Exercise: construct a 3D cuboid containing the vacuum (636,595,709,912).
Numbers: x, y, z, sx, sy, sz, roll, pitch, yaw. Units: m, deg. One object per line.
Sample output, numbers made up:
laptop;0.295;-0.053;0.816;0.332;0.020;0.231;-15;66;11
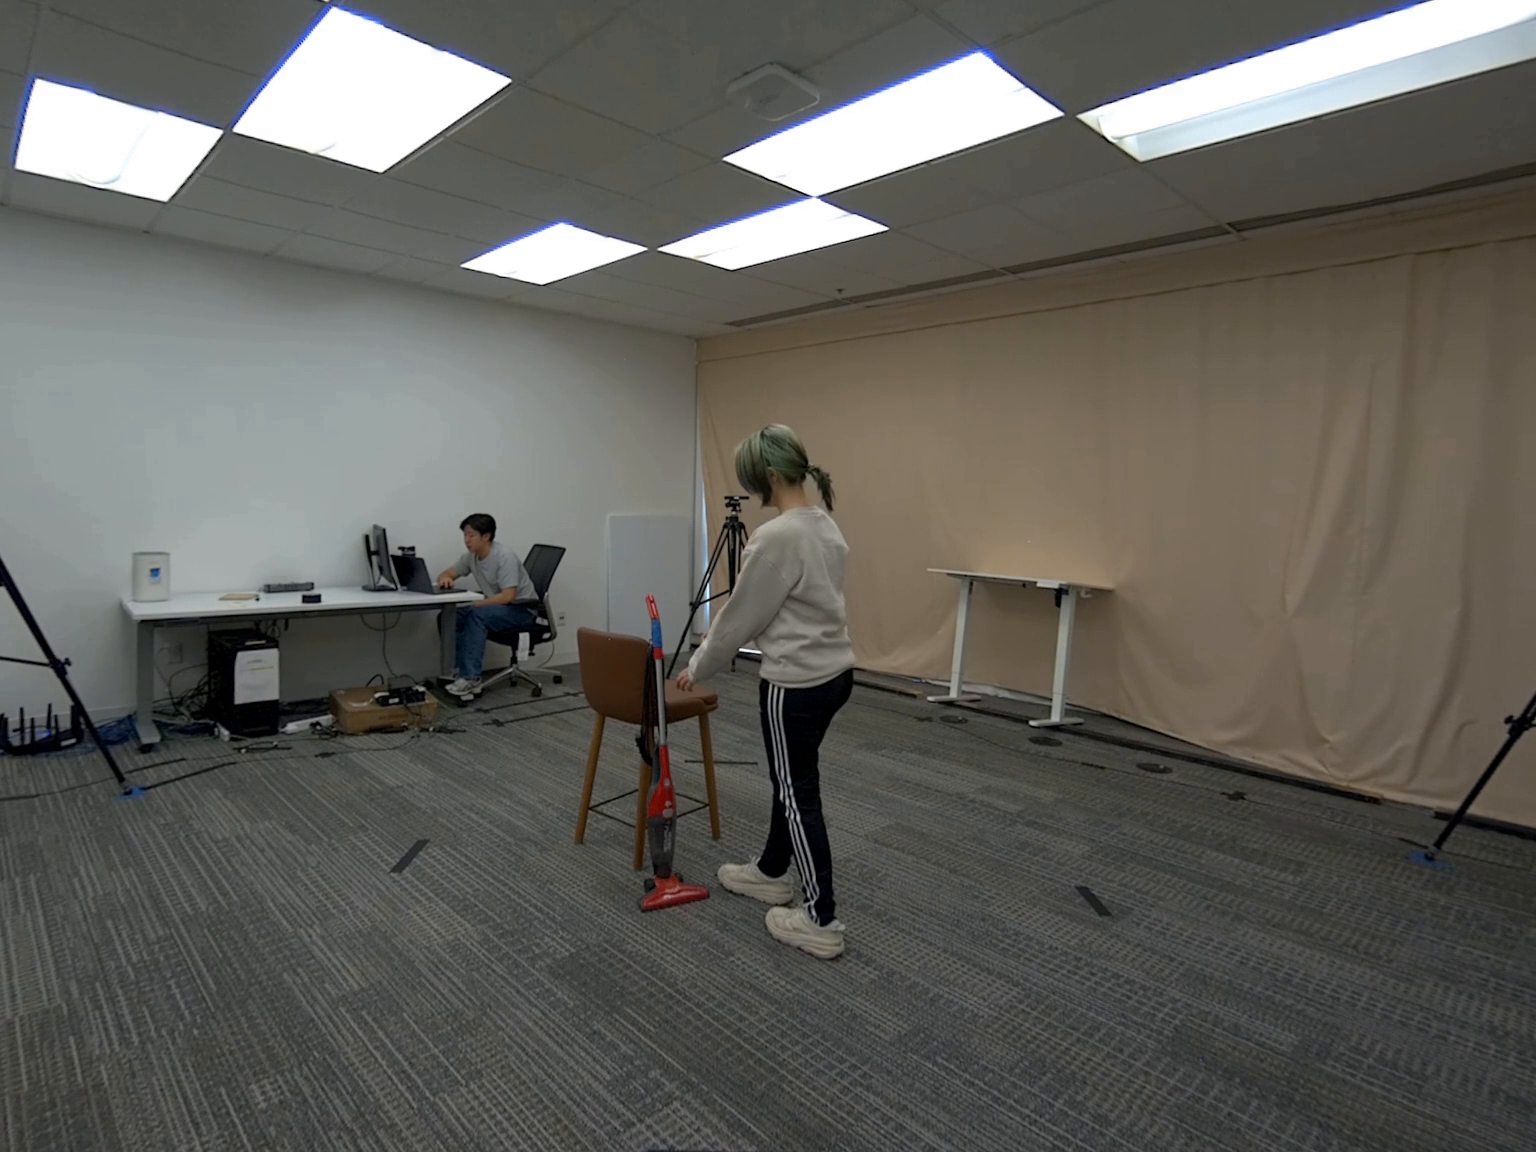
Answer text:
vacuum;-0.401;0.605;3.016;0.247;1.057;0.146;0;-11;-32
